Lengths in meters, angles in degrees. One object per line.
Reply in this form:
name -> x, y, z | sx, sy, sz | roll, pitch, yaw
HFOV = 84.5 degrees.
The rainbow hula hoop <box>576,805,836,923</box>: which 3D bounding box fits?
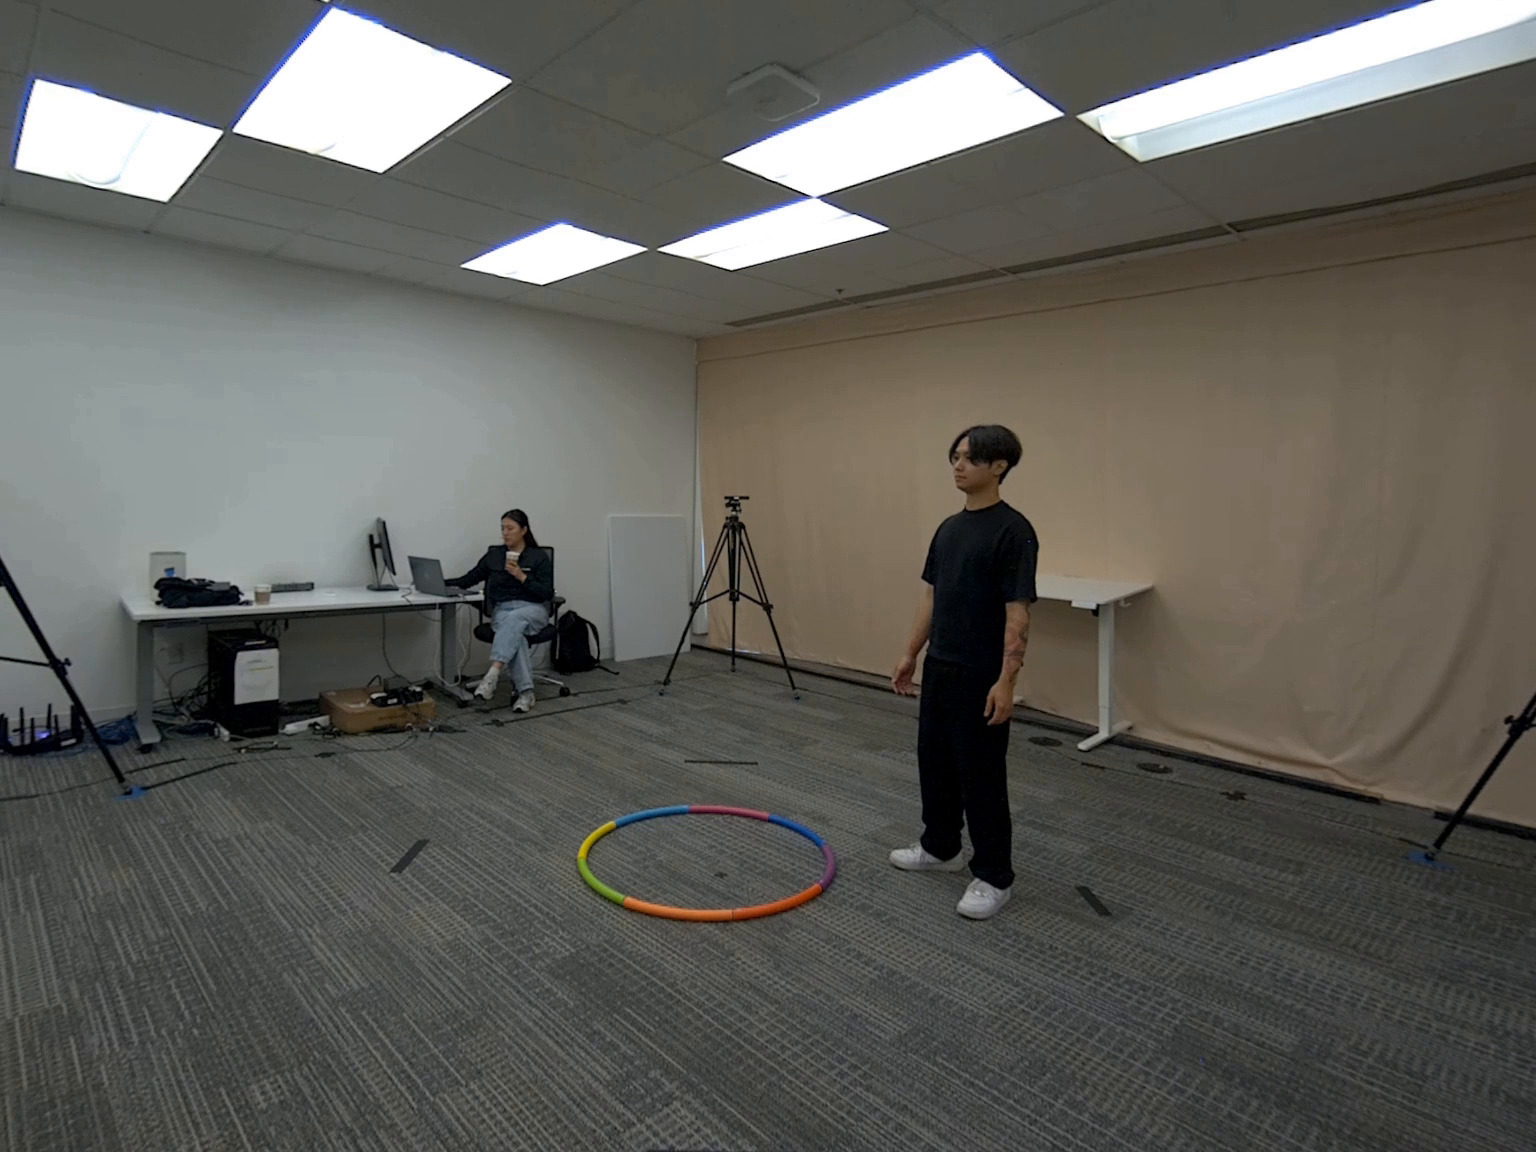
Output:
rainbow hula hoop -> -0.238, 1.059, 3.237 | 0.978, 0.035, 0.982 | 1, 5, -1
